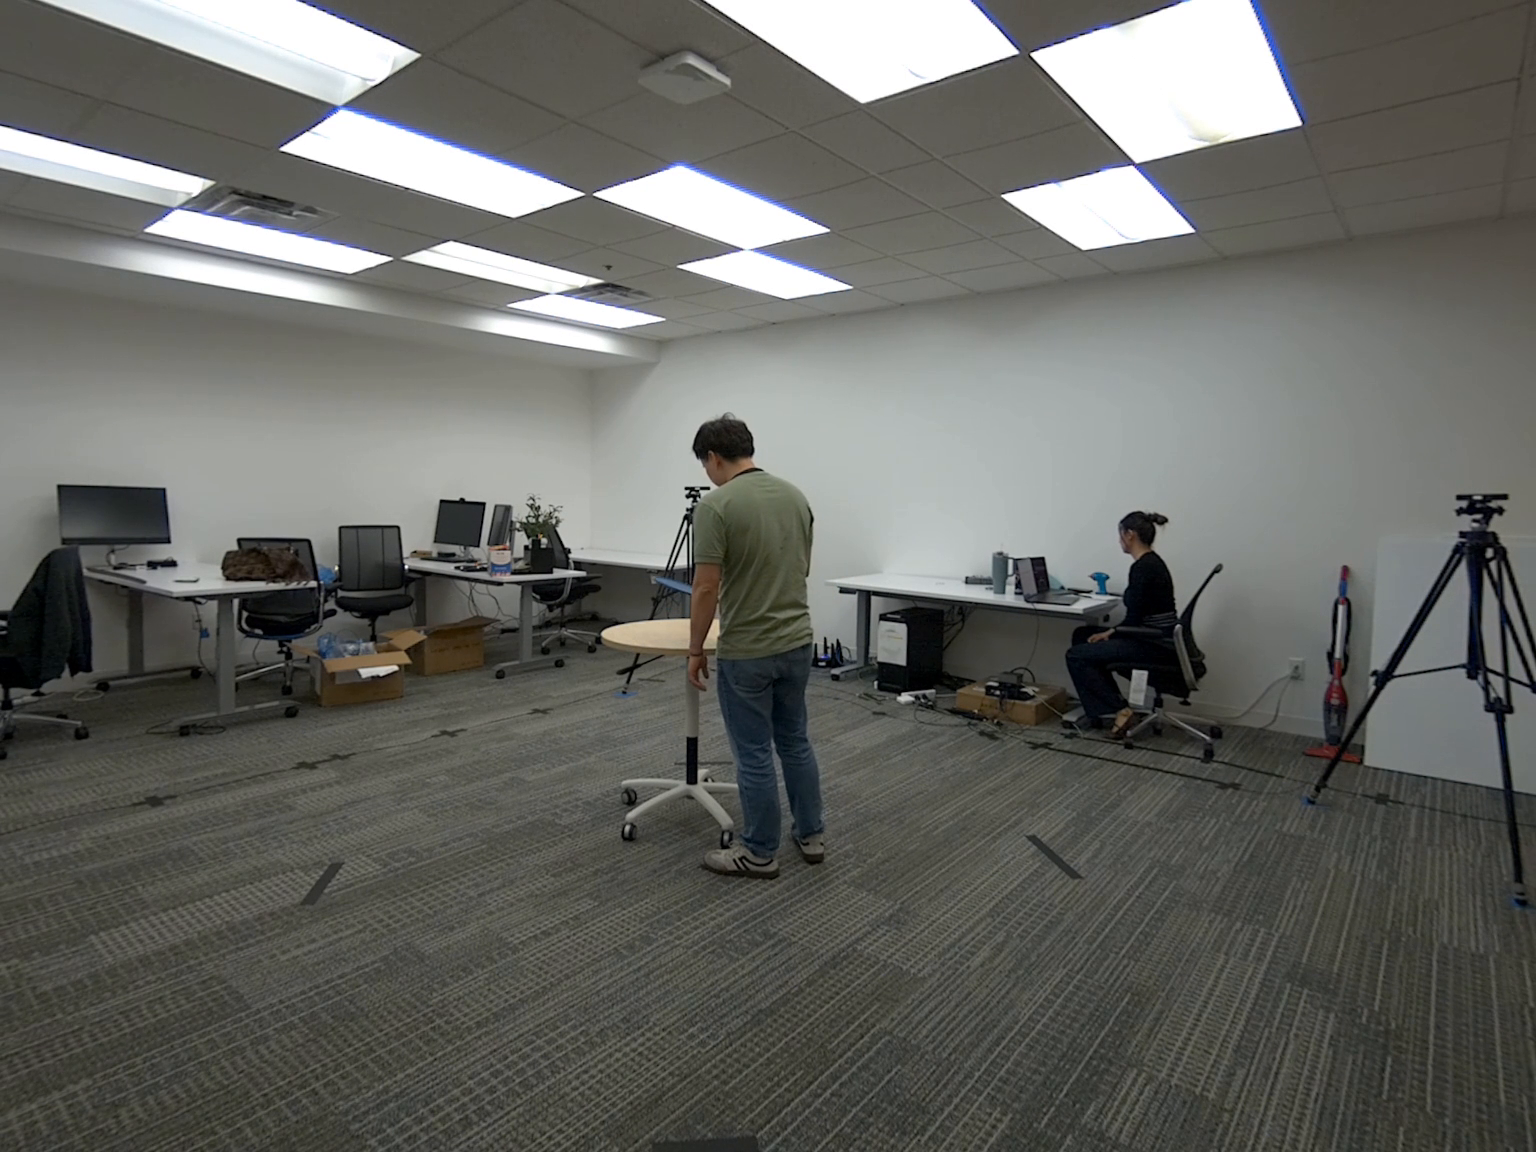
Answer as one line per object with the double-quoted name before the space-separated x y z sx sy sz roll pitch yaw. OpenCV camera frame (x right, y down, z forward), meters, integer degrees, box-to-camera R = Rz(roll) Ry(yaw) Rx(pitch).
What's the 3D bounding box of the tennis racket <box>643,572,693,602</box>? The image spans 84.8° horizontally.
"tennis racket" -0.267 0.078 3.360 0.439 0.031 0.212 20 6 9
